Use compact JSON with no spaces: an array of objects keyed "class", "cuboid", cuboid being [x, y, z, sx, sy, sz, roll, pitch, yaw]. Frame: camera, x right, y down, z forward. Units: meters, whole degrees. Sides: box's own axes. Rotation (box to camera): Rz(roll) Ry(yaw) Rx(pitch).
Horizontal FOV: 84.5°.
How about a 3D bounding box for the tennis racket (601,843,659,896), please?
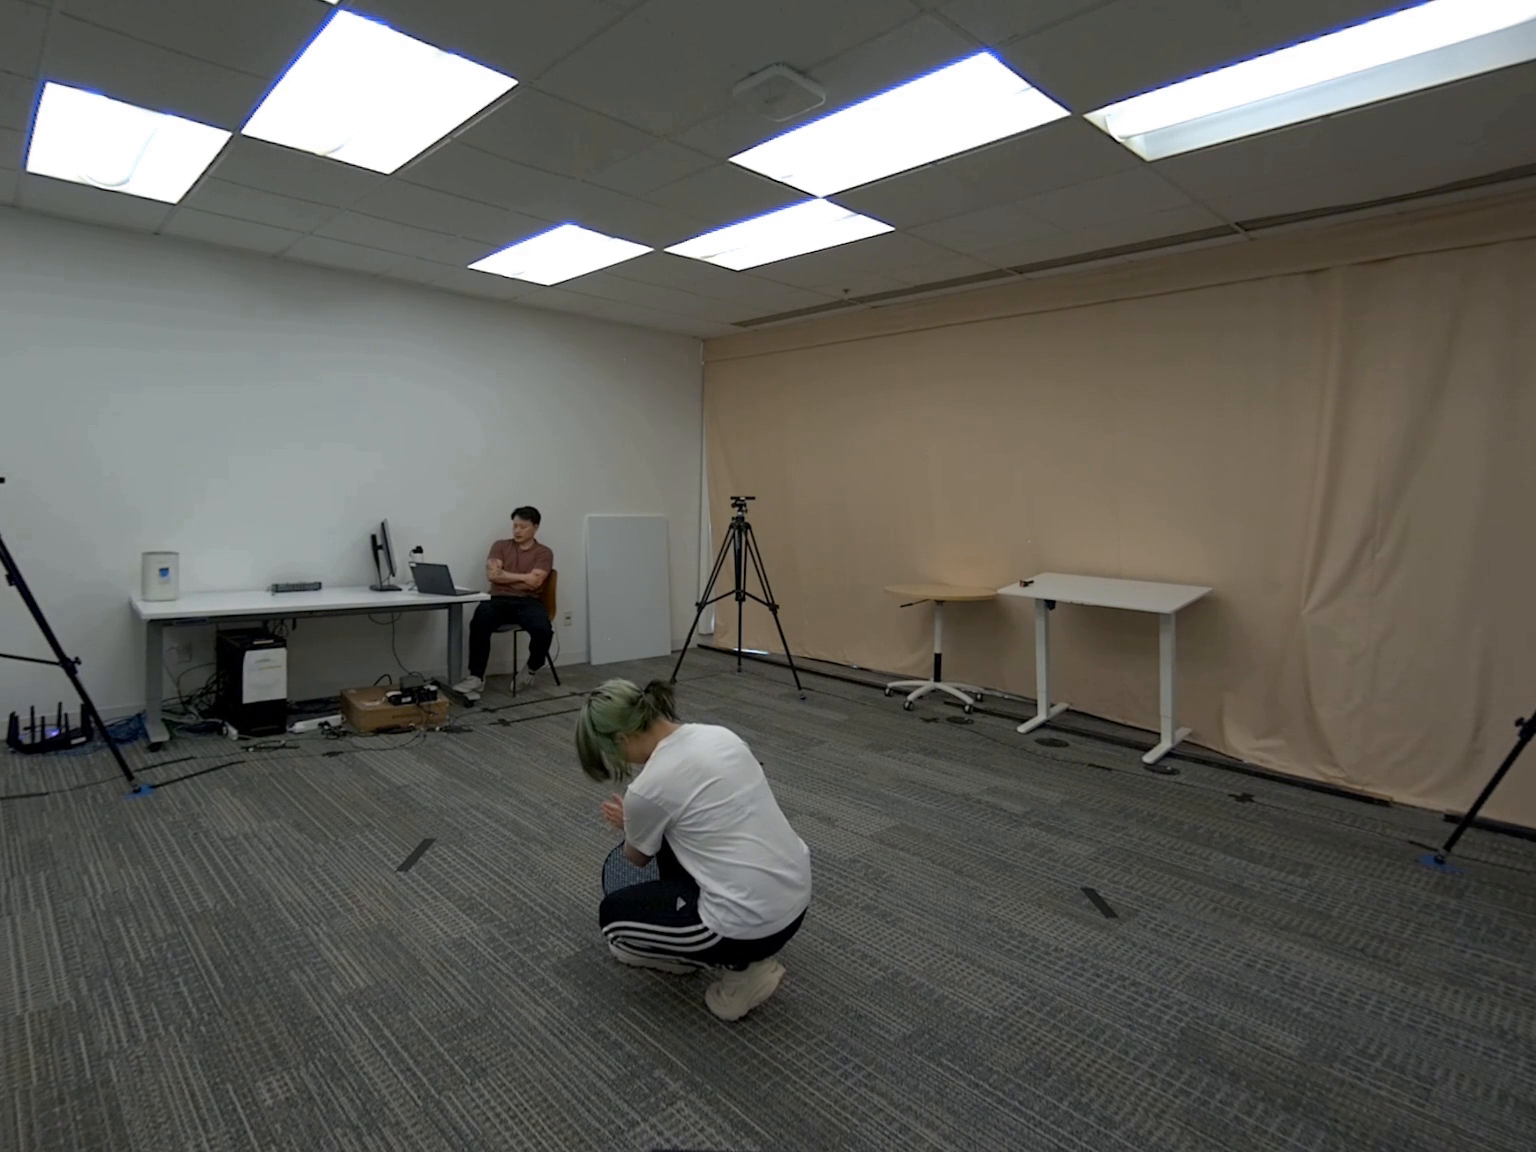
[{"class":"tennis racket","cuboid":[-0.441,0.929,2.740,0.215,0.431,0.032,6,7,7]}]
